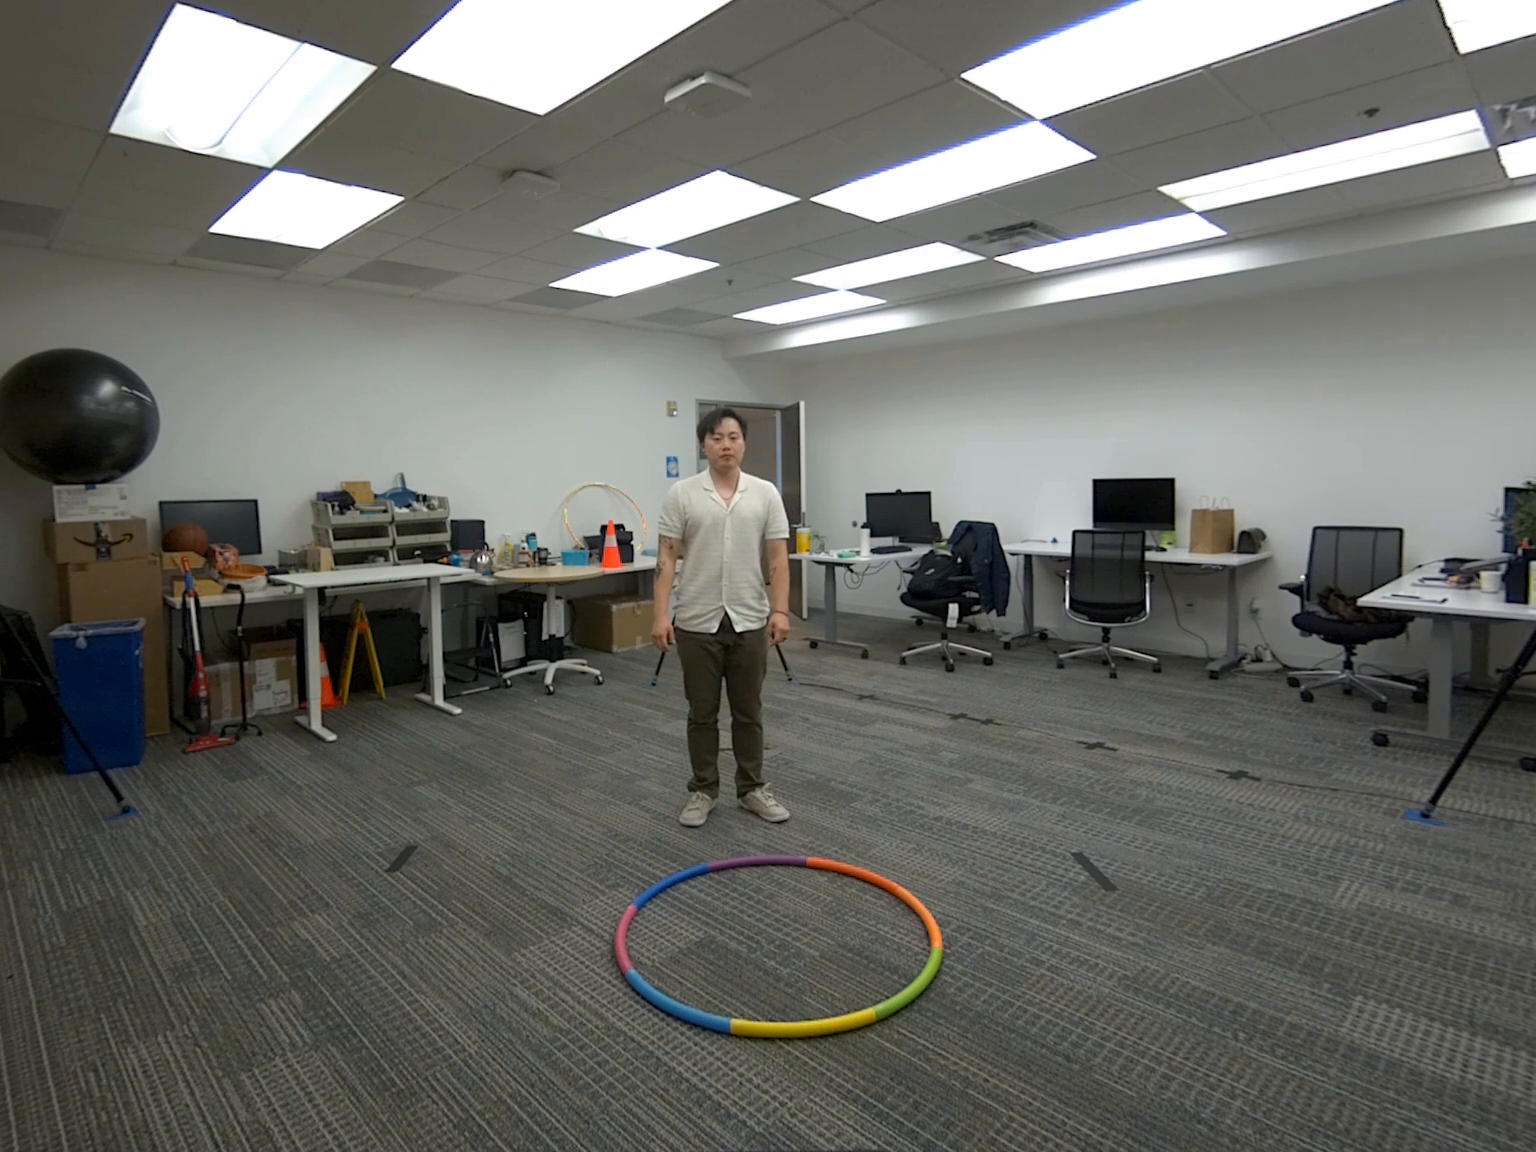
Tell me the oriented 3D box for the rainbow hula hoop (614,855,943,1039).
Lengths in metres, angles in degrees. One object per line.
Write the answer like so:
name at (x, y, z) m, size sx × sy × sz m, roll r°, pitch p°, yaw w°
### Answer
rainbow hula hoop at (0.029, 1.068, 2.622) m, size 0.978 × 0.035 × 0.984 m, roll -1°, pitch 7°, yaw -2°
